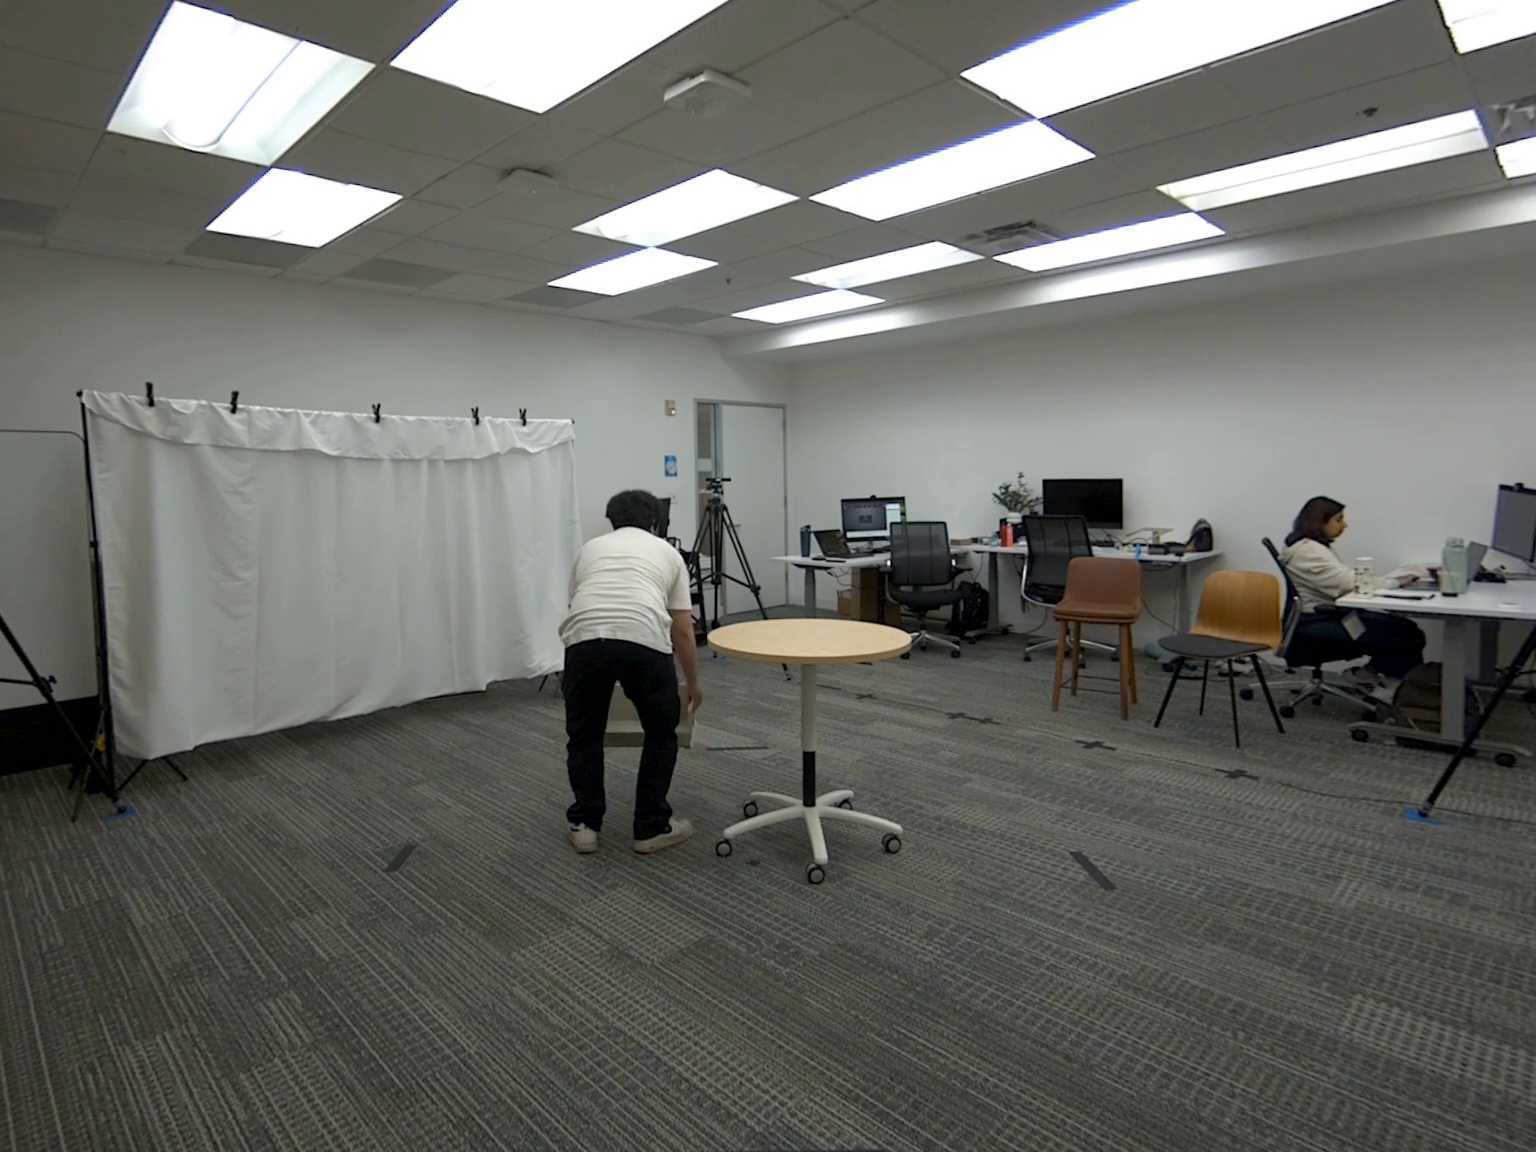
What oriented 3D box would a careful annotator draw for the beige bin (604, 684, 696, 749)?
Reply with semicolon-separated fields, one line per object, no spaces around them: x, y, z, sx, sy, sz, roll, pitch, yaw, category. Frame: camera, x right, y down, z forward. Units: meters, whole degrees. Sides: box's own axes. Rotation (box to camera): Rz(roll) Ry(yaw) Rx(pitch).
-0.523;0.614;3.653;0.423;0.188;0.379;-1;7;1;beige bin
